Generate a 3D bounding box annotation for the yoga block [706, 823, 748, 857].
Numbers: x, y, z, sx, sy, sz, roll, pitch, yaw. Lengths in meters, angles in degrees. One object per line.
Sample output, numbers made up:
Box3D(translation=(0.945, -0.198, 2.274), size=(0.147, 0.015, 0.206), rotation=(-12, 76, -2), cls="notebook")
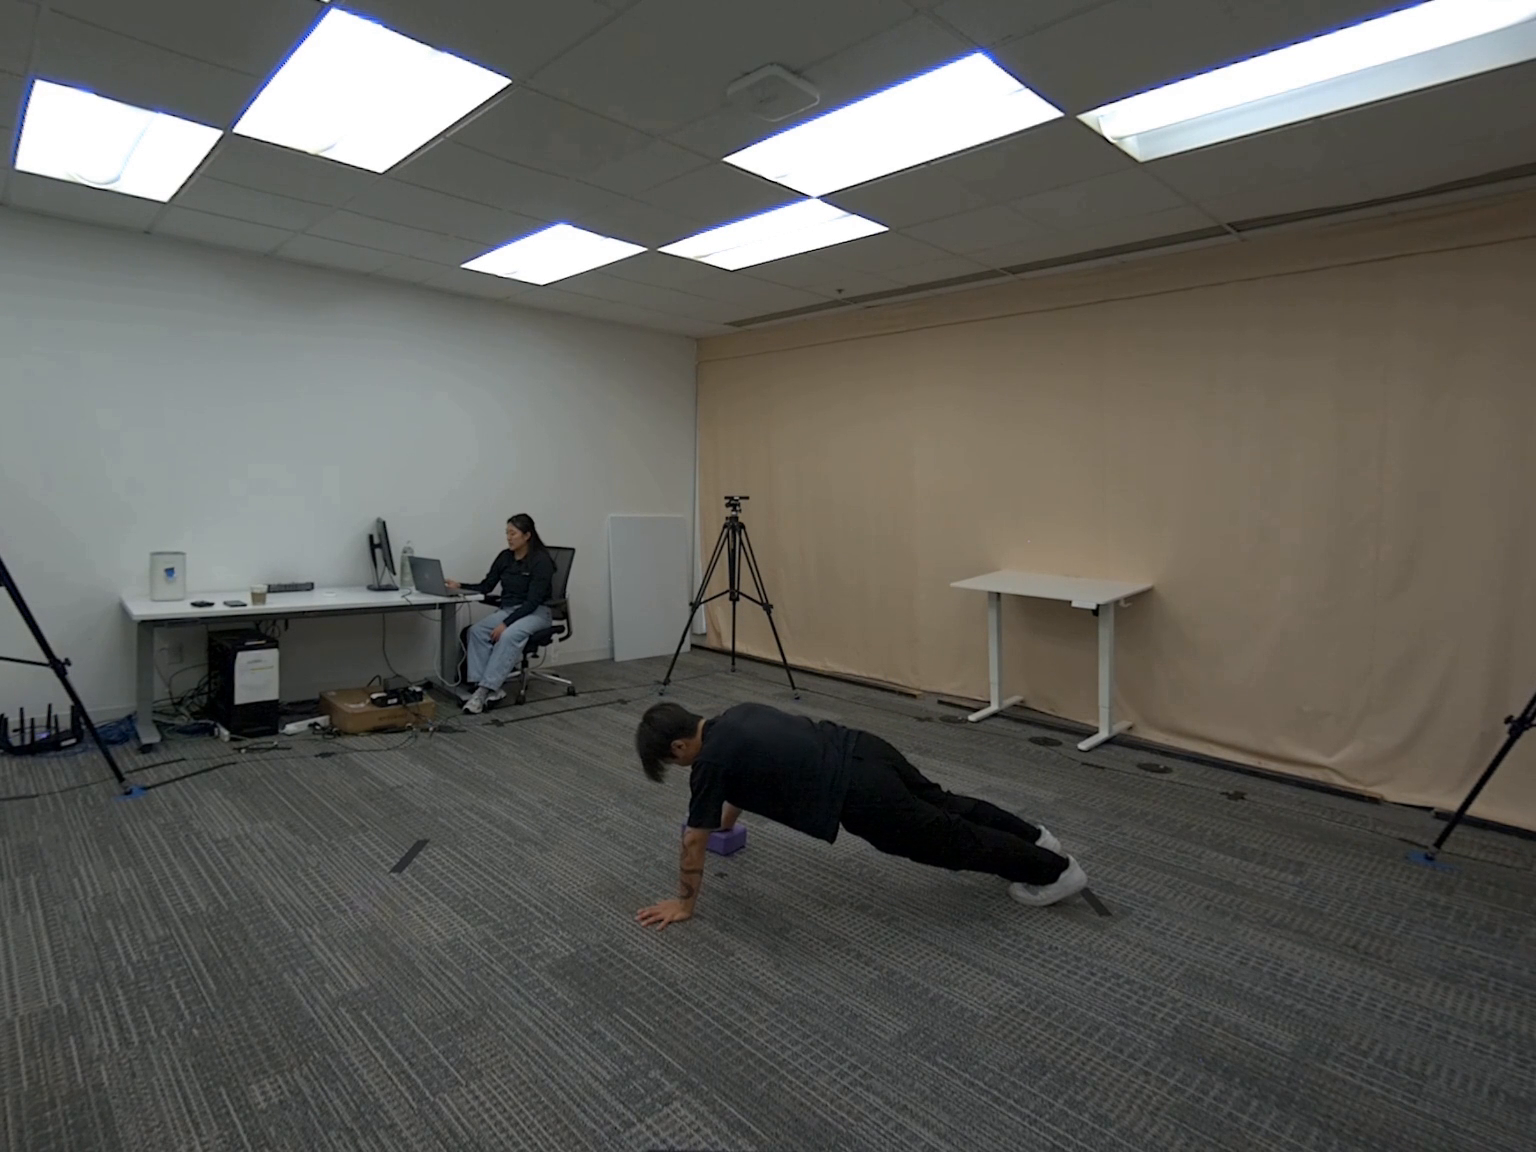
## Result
Box3D(translation=(-0.225, 1.034, 3.381), size=(0.235, 0.076, 0.146), rotation=(6, 6, 36), cls="yoga block")
